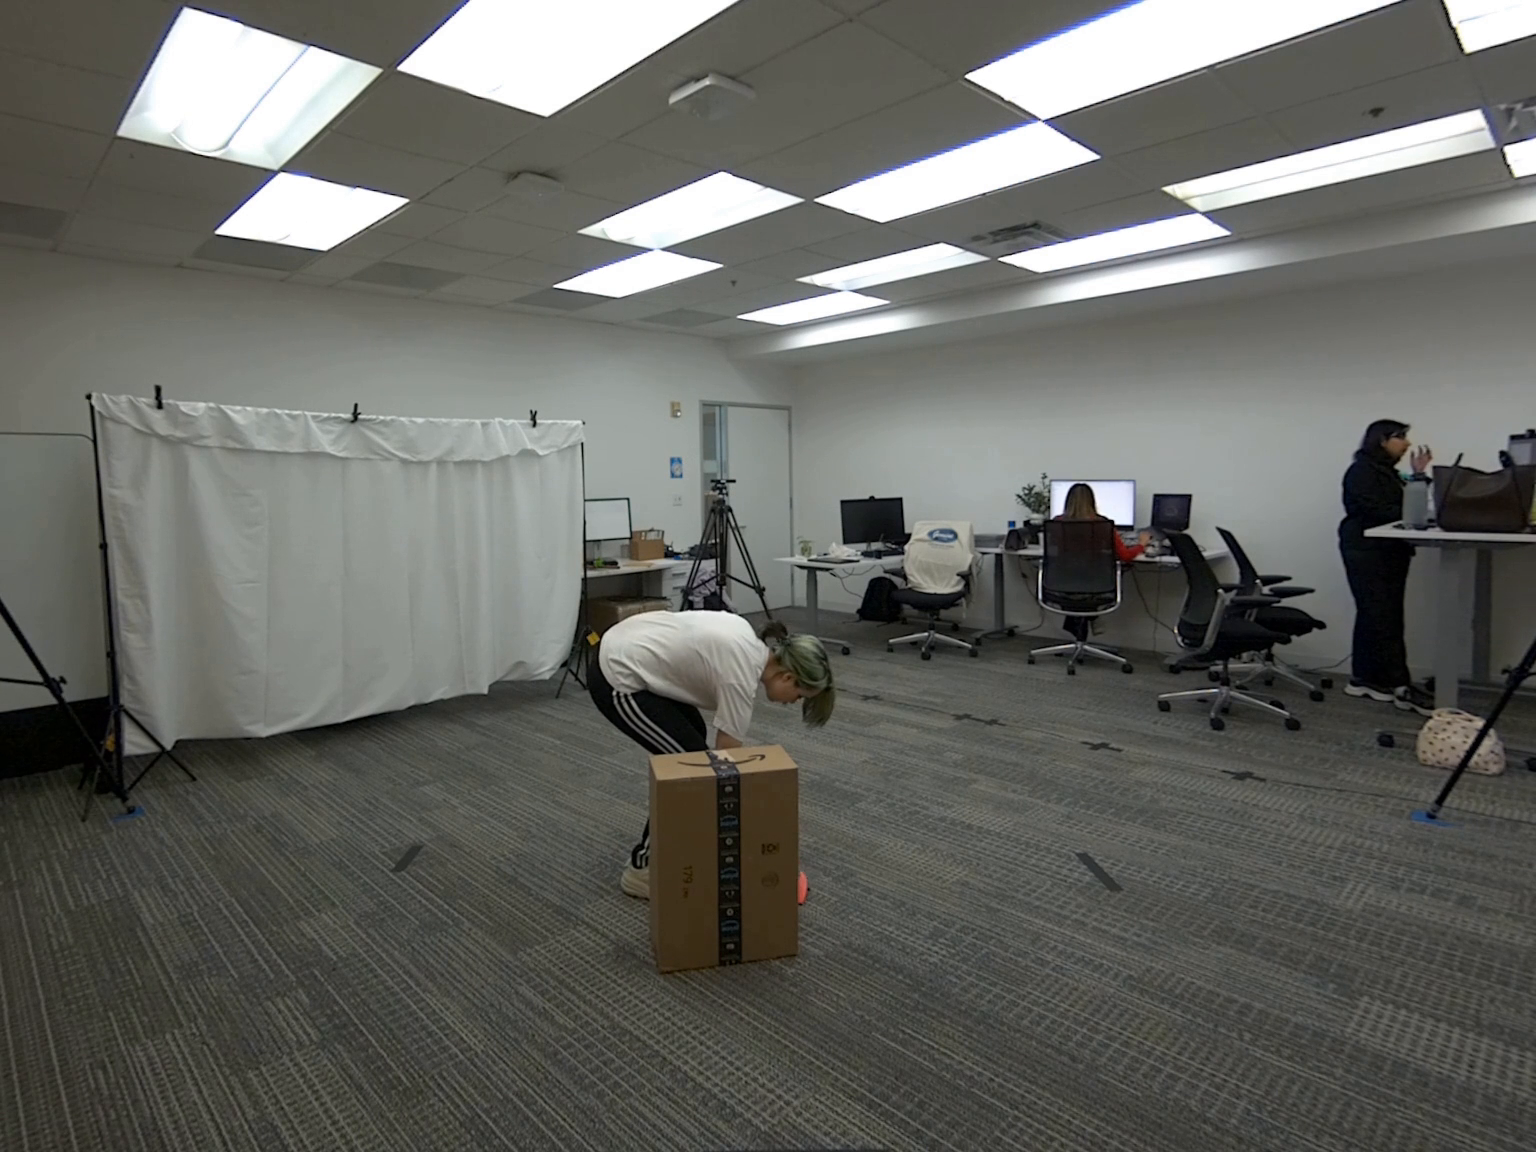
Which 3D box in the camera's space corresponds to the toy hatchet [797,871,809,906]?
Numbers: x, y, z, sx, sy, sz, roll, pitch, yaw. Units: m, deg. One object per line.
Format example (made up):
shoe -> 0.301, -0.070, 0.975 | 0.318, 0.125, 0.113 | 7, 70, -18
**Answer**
toy hatchet -> 0.013, 1.040, 2.823 | 0.267, 0.029, 0.135 | -5, 22, -13
